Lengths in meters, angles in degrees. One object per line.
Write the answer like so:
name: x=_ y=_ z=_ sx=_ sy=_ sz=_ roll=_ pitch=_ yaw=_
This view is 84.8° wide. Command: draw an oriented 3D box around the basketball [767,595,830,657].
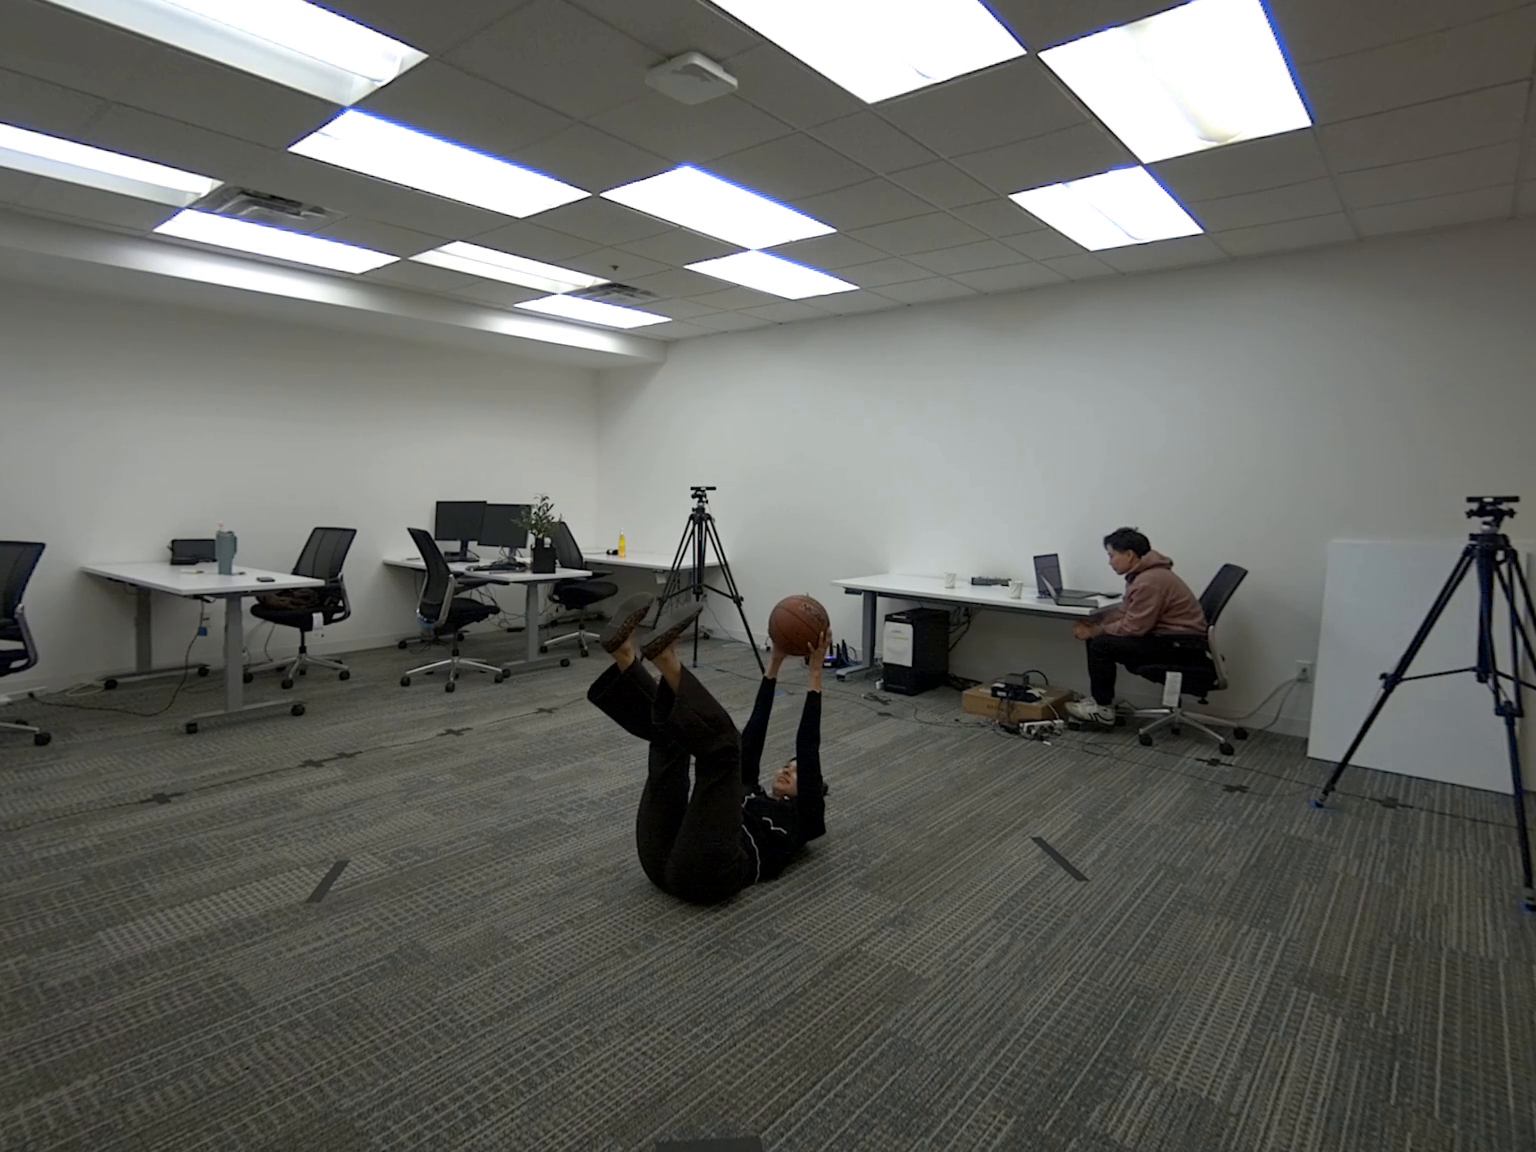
basketball: x=0.110 y=0.187 z=3.275 sx=0.236 sy=0.235 sz=0.237 roll=1 pitch=4 yaw=-2
